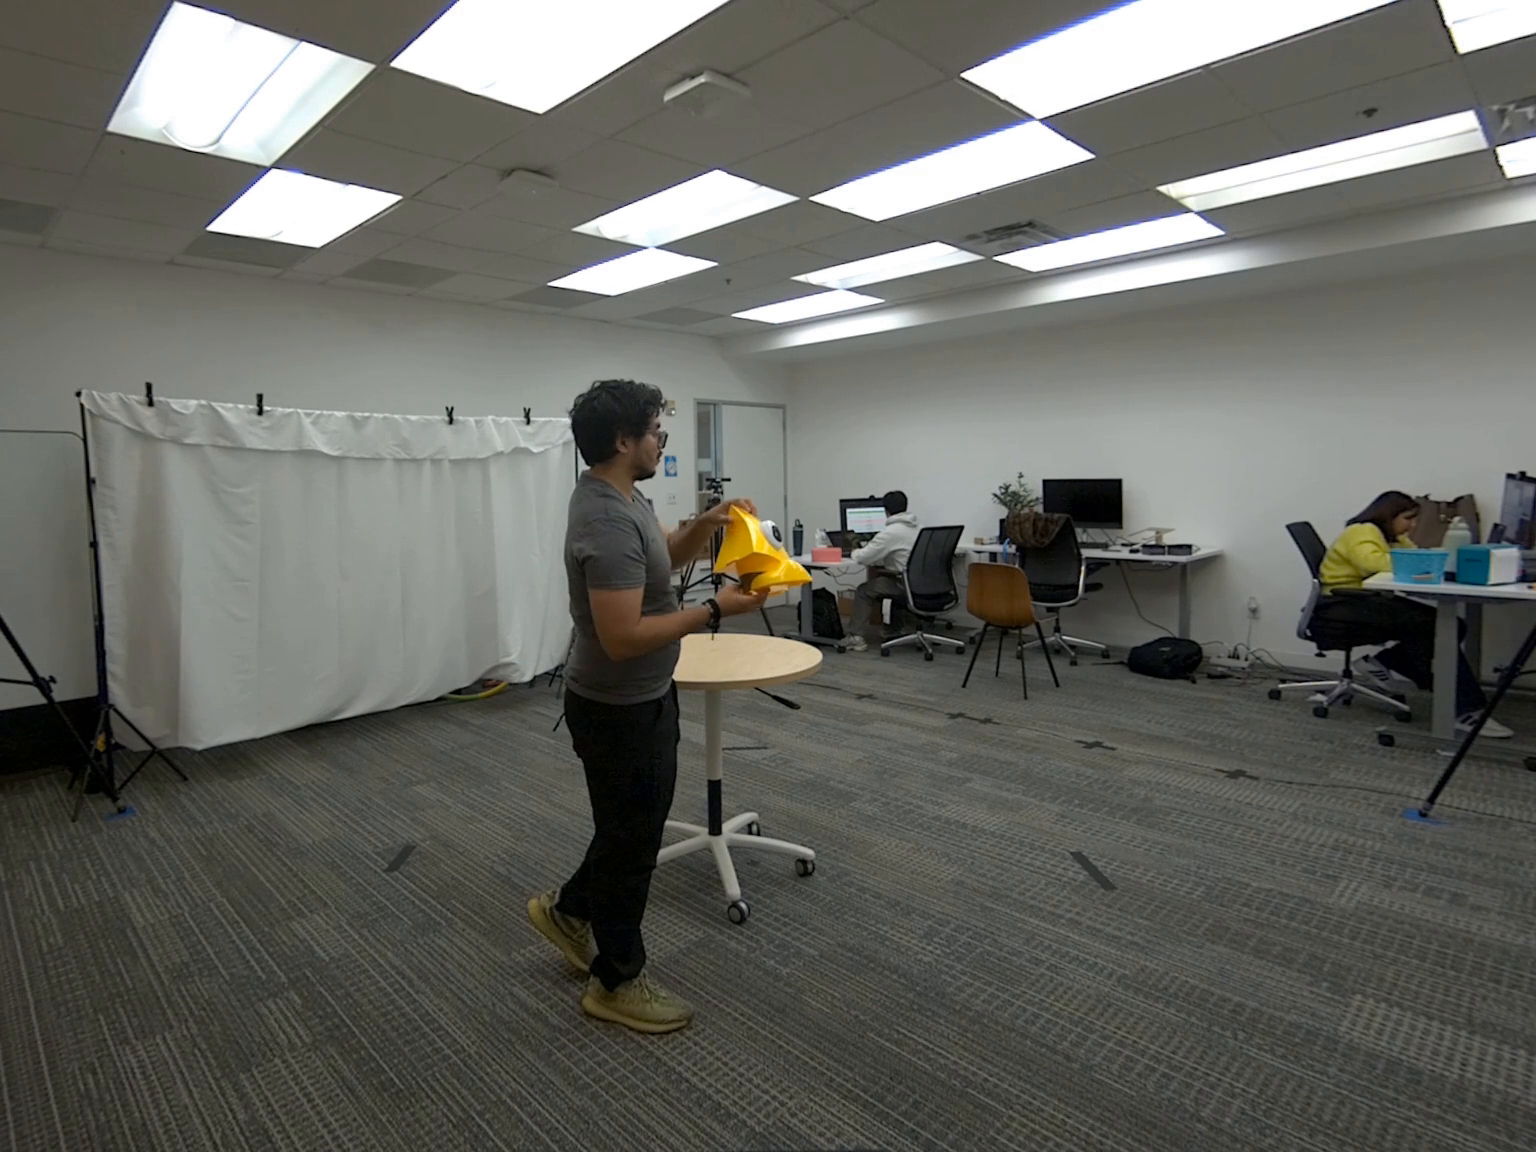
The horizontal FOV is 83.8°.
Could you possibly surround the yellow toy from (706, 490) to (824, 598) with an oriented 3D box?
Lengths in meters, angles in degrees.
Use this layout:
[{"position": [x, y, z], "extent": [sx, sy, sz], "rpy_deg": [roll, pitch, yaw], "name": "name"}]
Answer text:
[{"position": [-0.020, -0.074, 2.179], "extent": [0.188, 0.233, 0.207], "rpy_deg": [-5, -11, -33], "name": "yellow toy"}]
